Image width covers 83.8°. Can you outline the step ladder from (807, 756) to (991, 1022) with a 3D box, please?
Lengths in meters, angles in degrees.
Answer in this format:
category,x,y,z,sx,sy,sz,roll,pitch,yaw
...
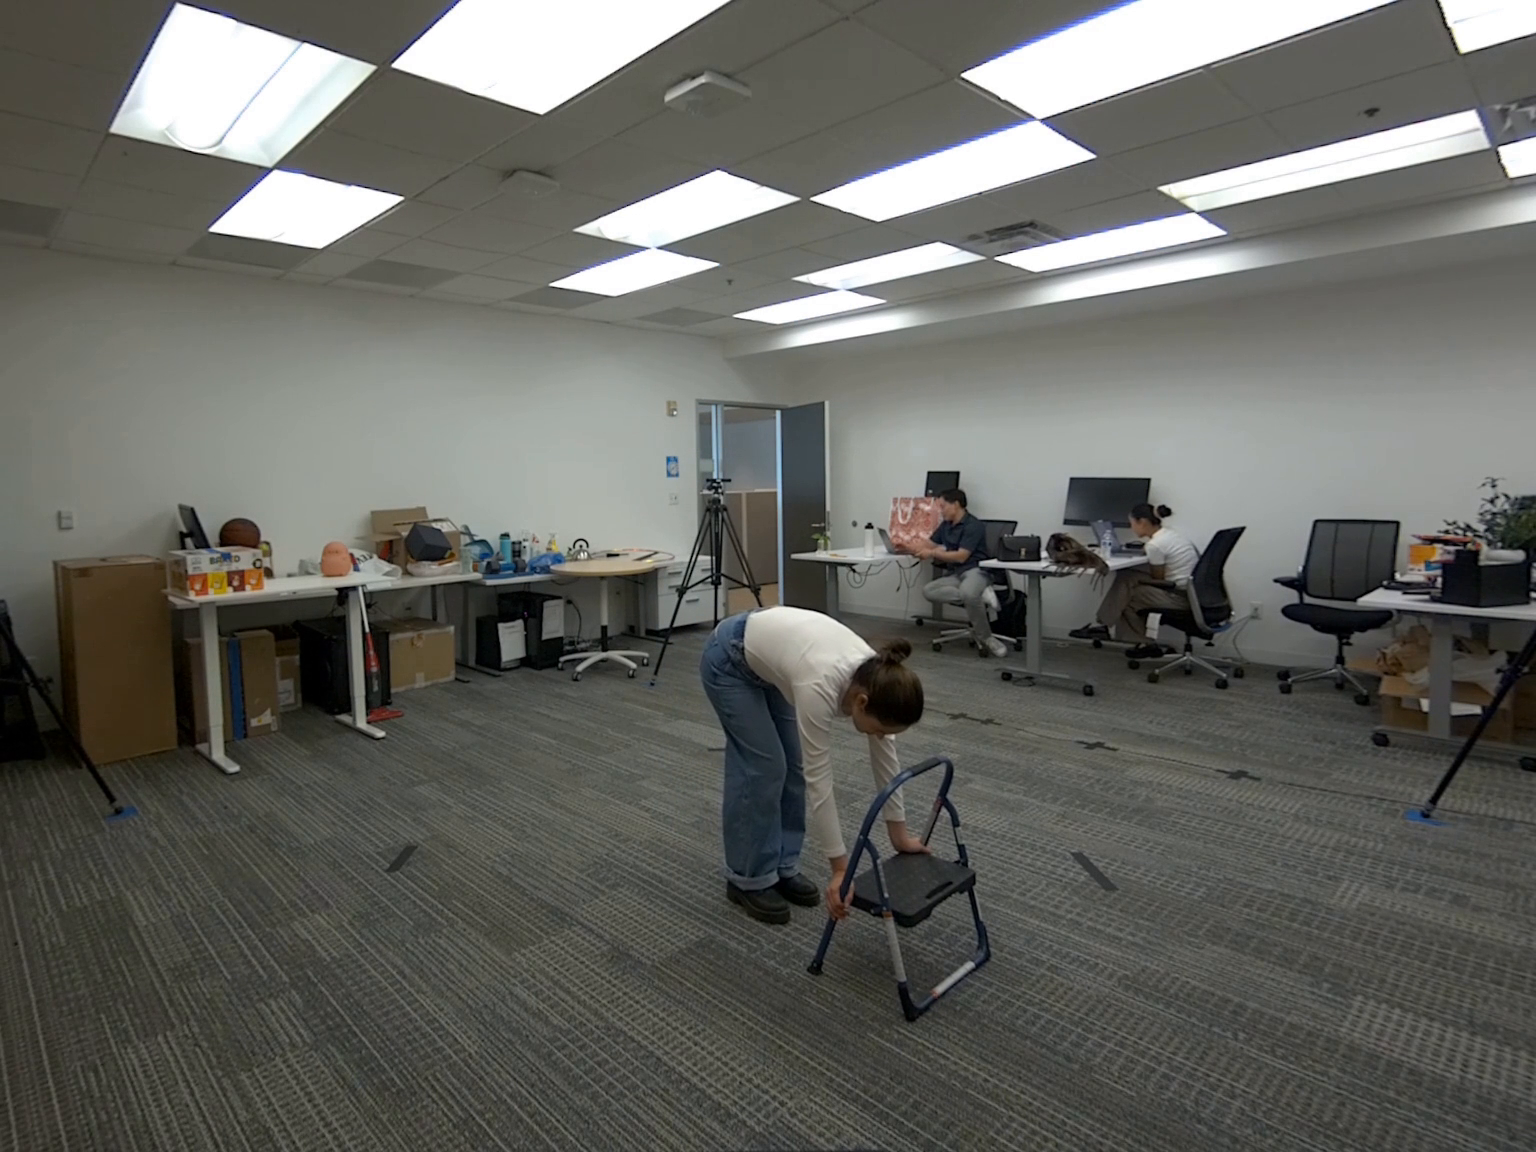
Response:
category,x,y,z,sx,sy,sz,roll,pitch,yaw
step ladder,0.382,0.815,2.425,0.360,0.604,0.419,3,6,43
